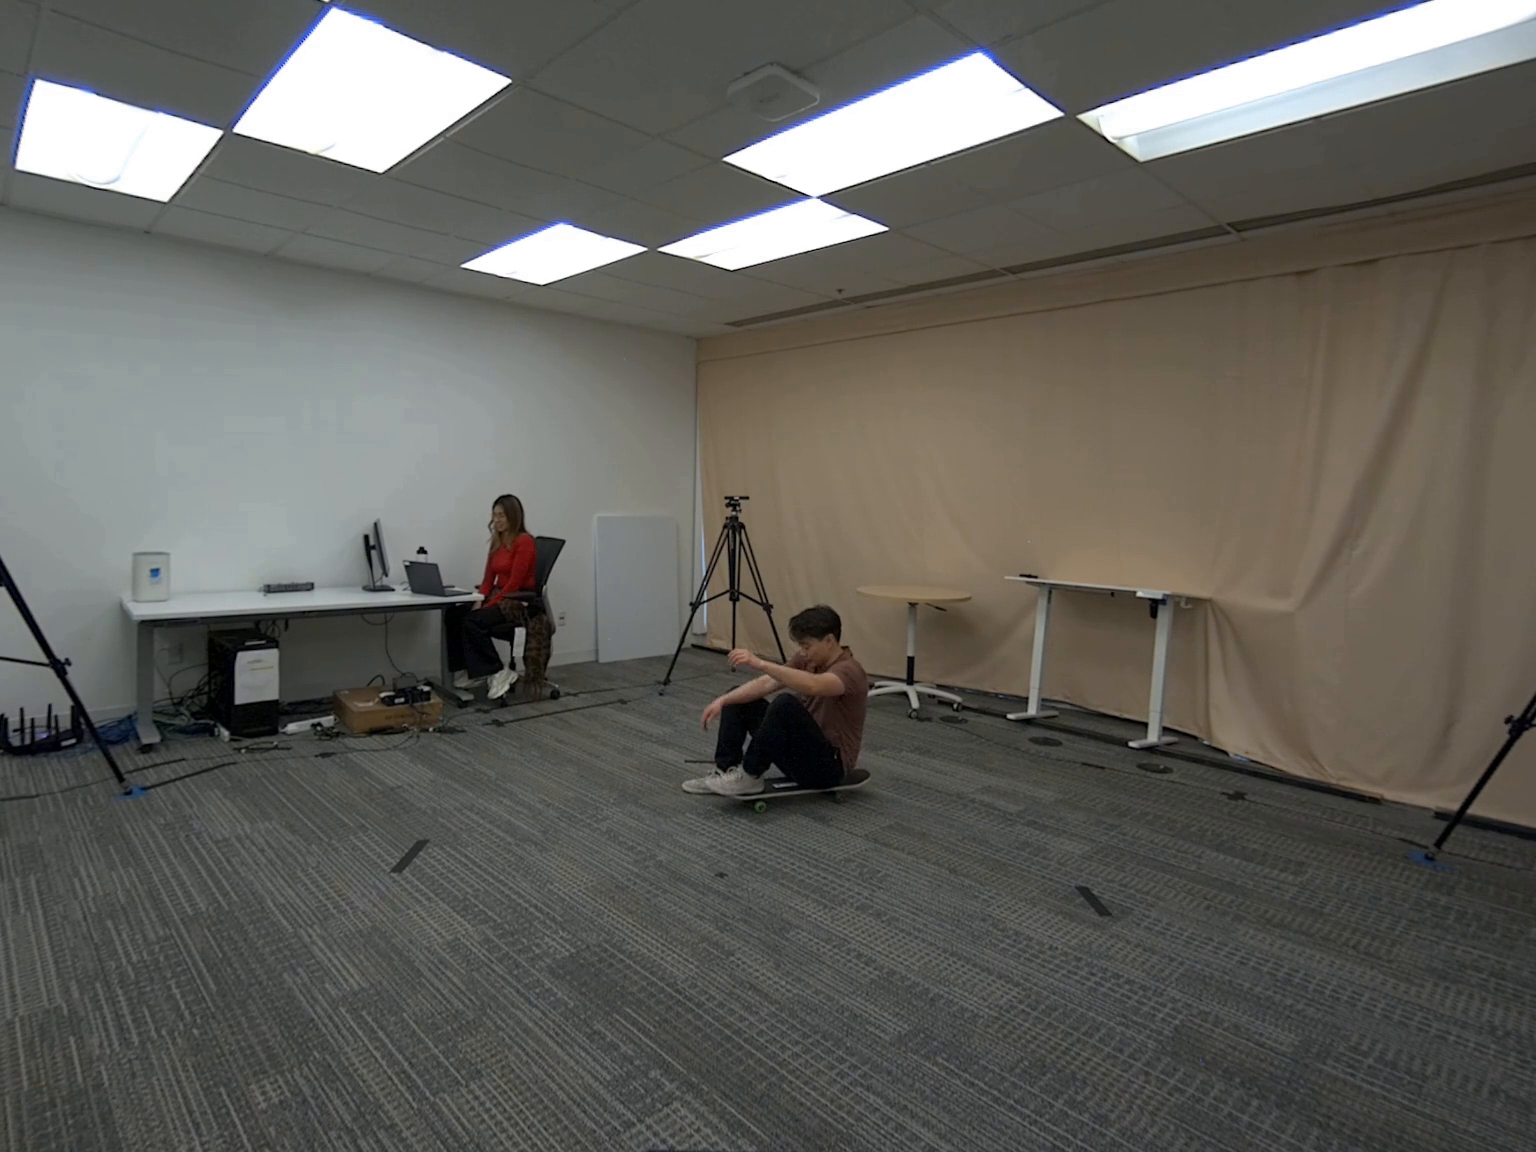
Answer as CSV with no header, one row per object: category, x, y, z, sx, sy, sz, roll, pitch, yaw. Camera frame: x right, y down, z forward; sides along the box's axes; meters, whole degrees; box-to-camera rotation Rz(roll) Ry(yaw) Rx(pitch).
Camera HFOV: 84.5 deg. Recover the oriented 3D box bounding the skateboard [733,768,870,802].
skateboard,0.100,0.985,3.871,0.771,0.110,0.197,1,5,-24
